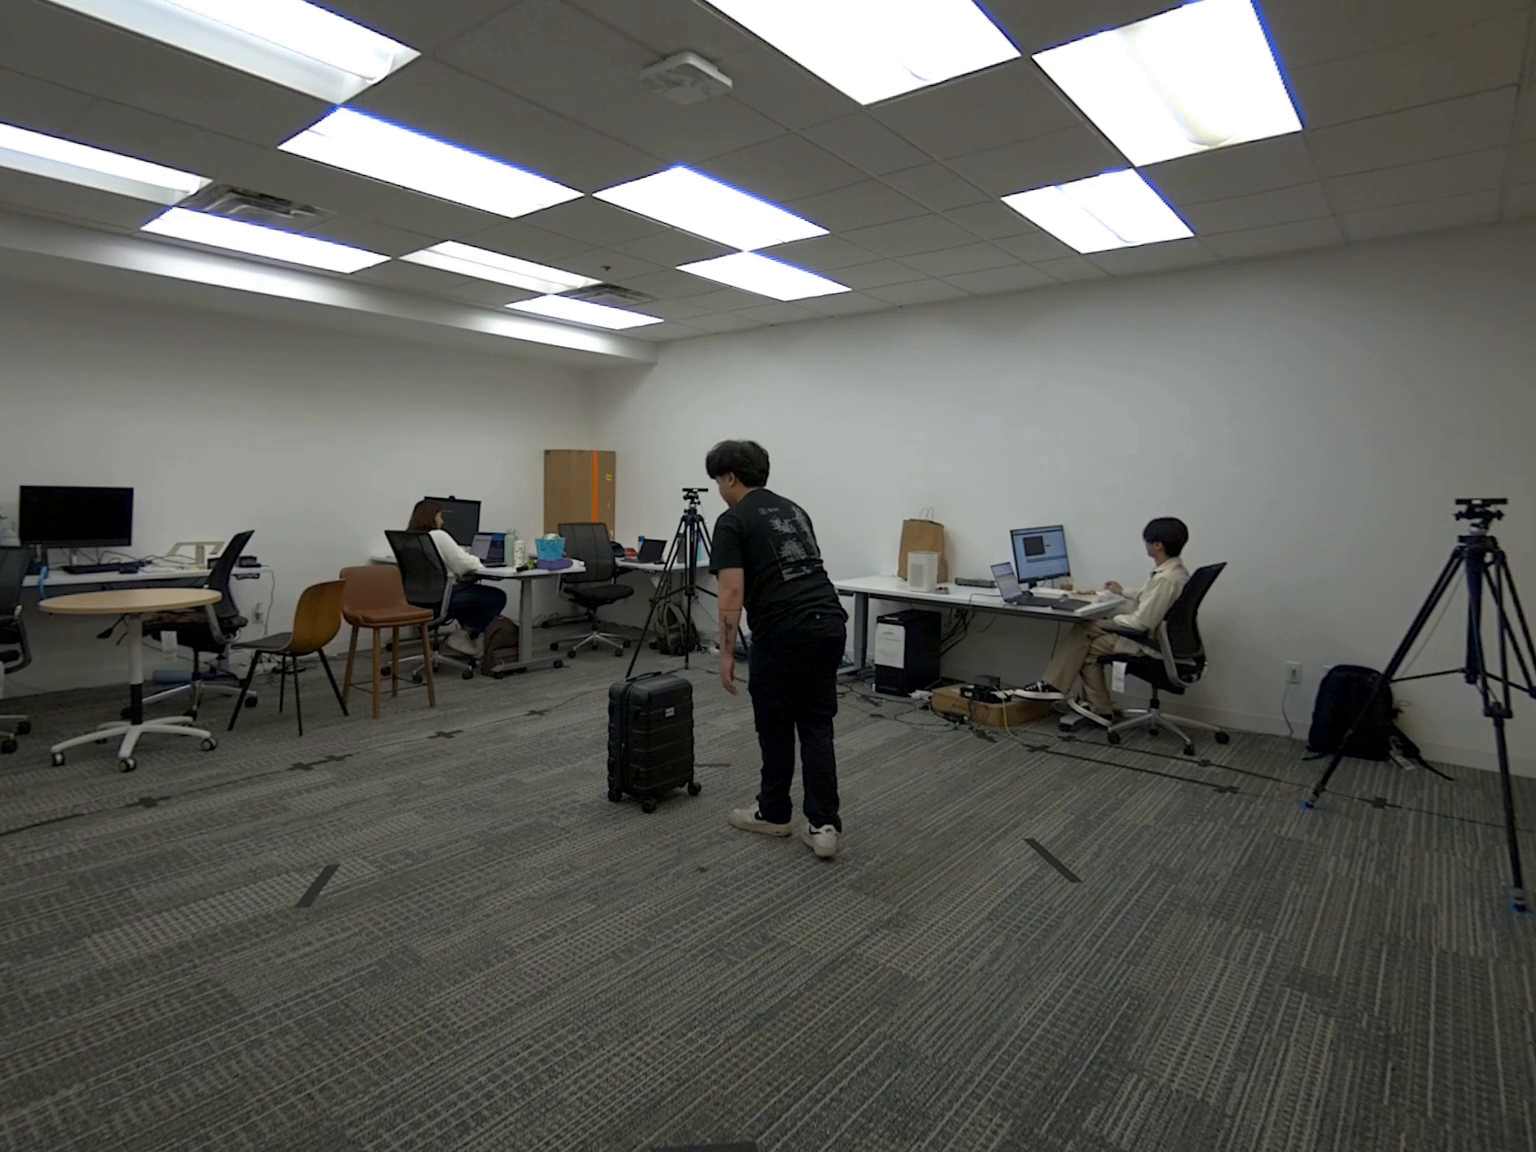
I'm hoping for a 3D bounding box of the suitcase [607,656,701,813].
[{"bbox_3d":[-0.533,0.718,3.834,0.256,0.548,0.364,1,3,38],"label":"suitcase"}]
